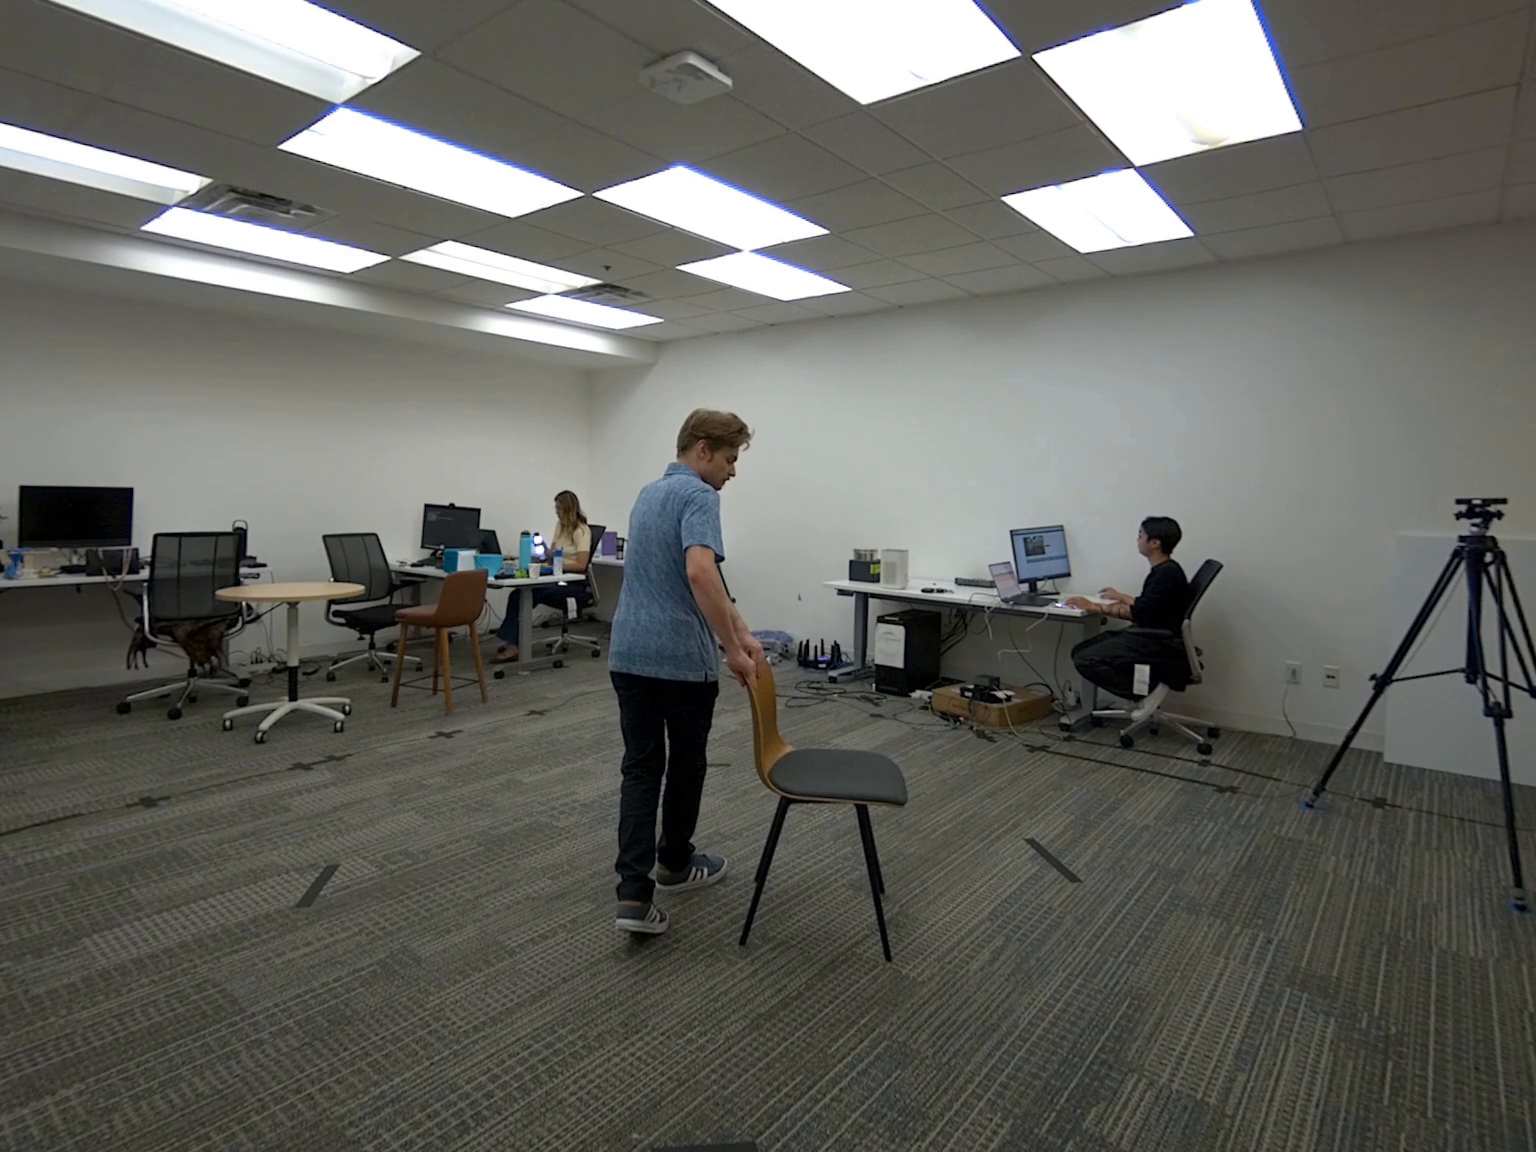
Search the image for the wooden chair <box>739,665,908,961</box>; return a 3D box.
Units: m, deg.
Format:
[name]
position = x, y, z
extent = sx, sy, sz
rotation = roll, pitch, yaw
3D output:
[wooden chair]
position = 0.173, 0.685, 2.748
extent = 0.527, 0.876, 0.475
rotation = -3, 2, 7
